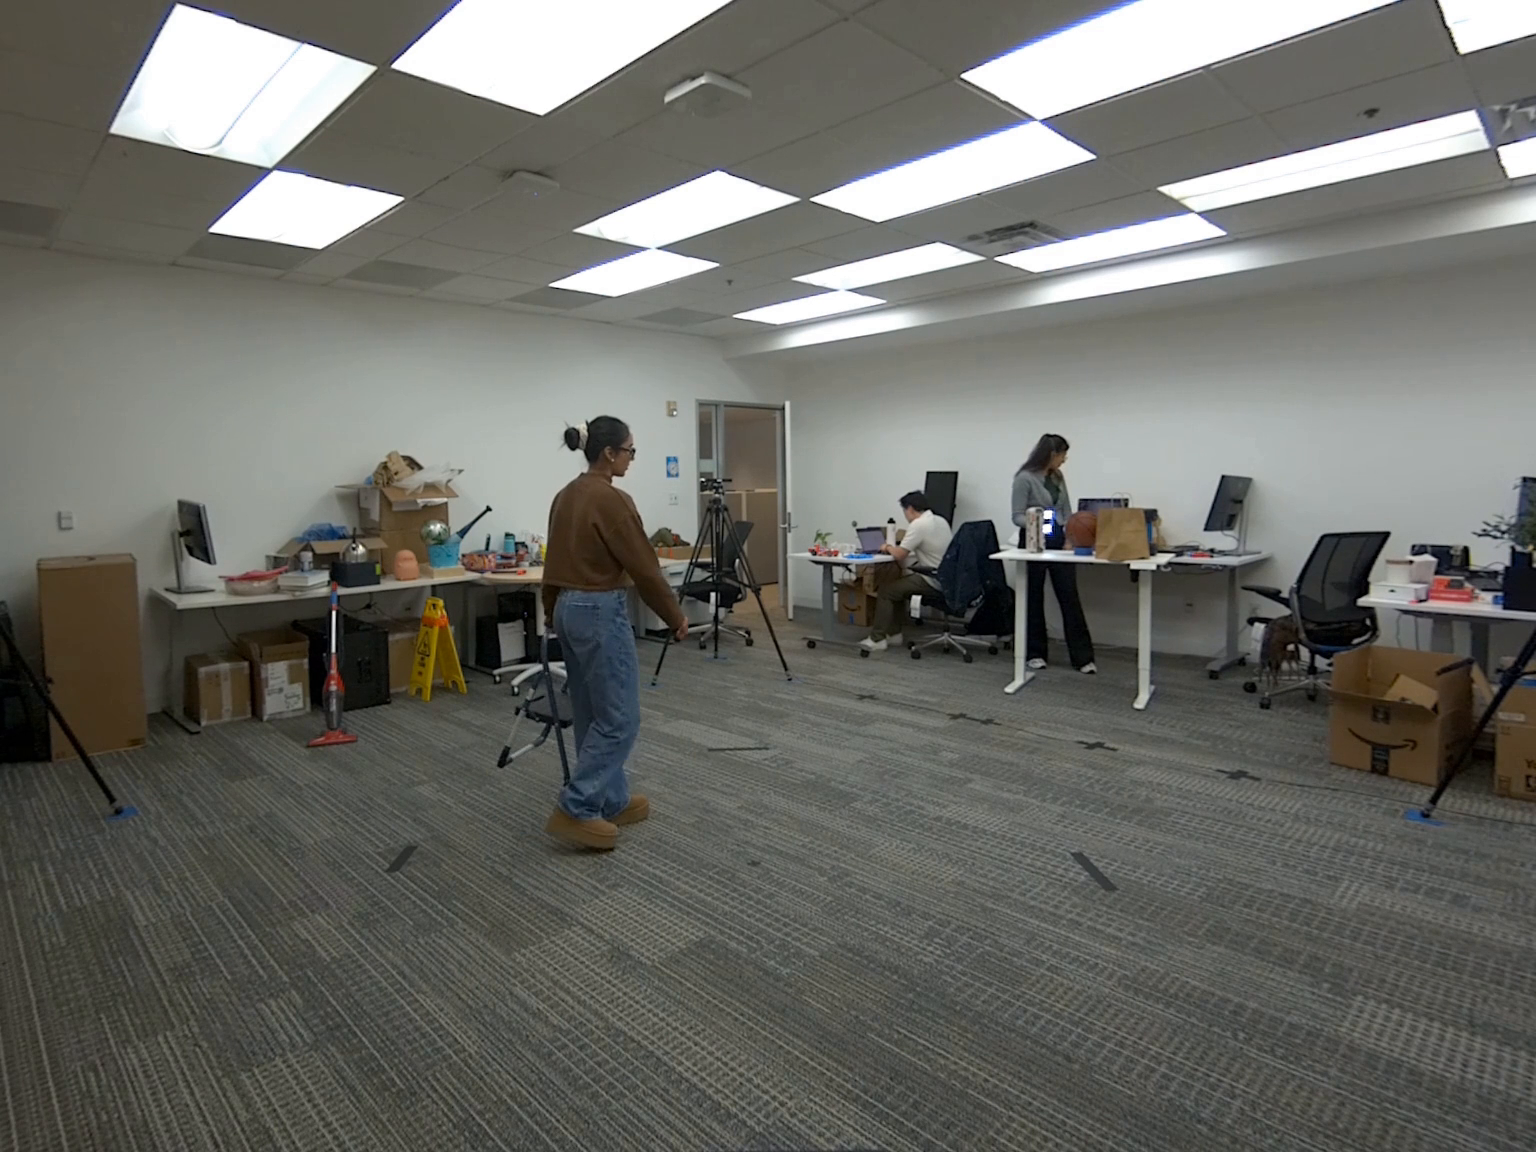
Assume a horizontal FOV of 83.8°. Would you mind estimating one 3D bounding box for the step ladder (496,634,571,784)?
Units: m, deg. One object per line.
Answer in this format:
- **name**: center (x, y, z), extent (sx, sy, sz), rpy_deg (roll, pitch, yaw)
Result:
- **step ladder**: center (-0.884, 0.525, 3.704), extent (0.354, 0.604, 0.426), rpy_deg (12, 4, 10)
